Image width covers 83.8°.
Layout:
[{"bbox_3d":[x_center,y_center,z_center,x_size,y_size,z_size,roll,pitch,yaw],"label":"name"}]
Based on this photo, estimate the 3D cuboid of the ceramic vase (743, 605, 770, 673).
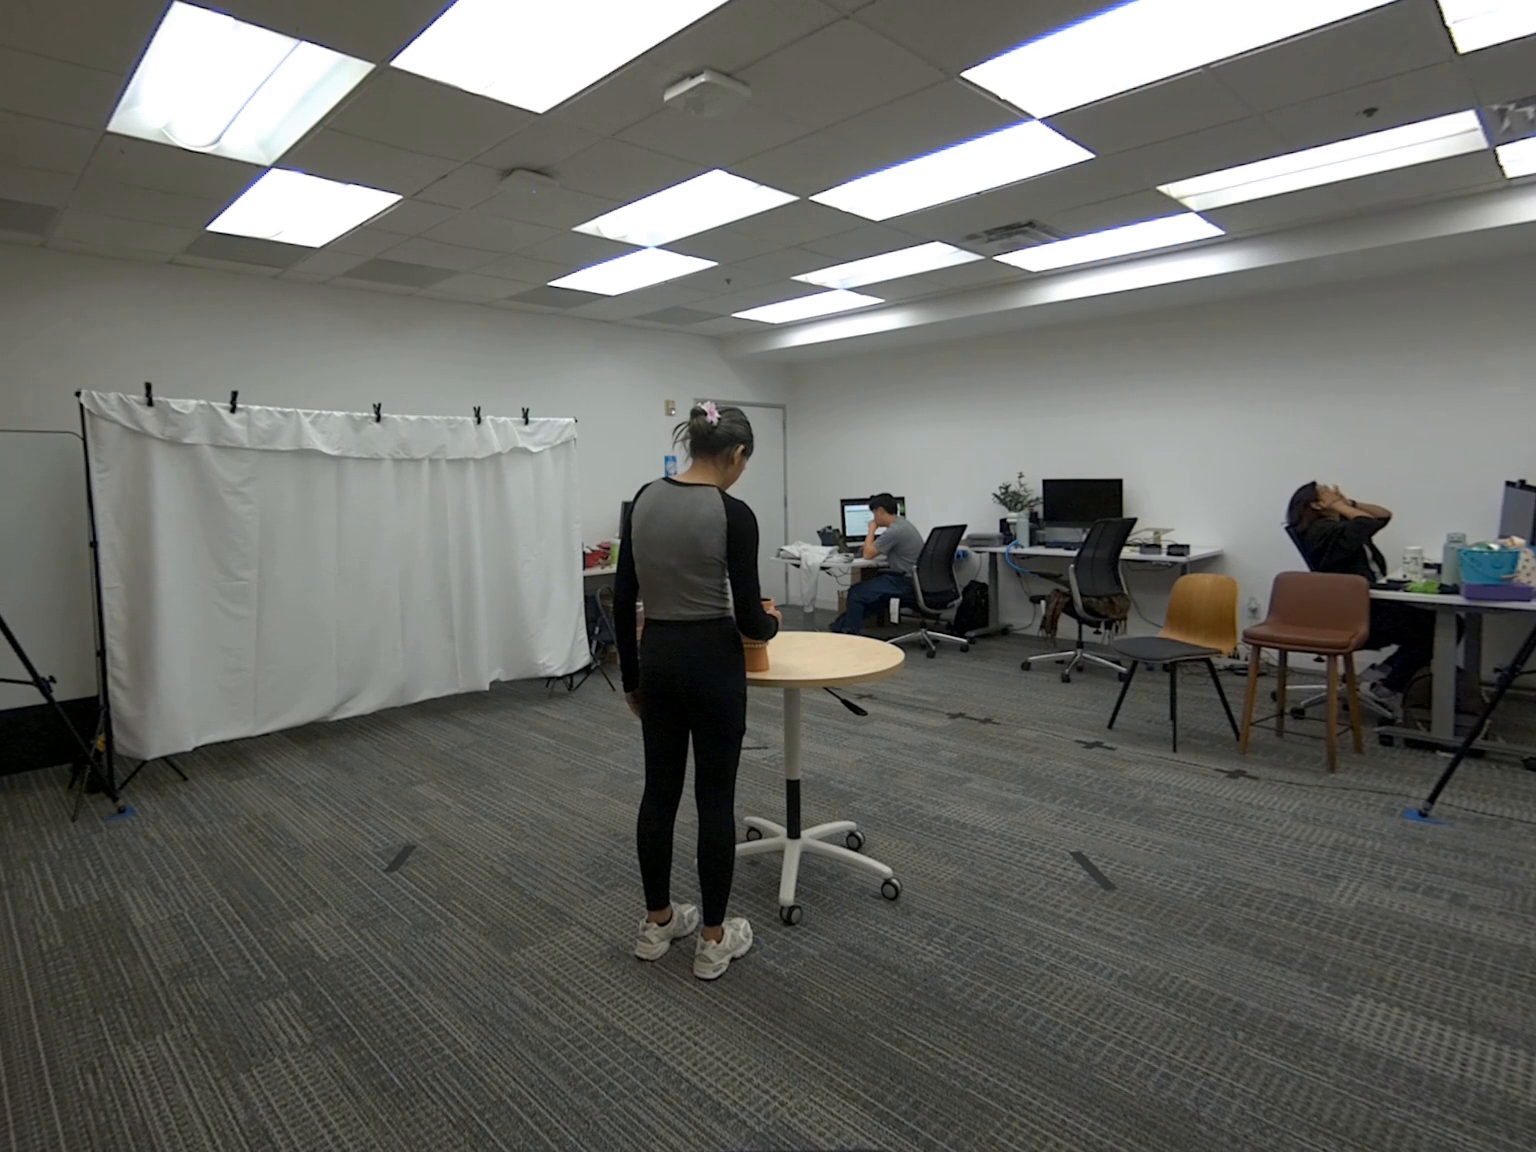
[{"bbox_3d":[-0.037,0.189,2.708,0.134,0.219,0.159,-1,5,-1],"label":"ceramic vase"}]
